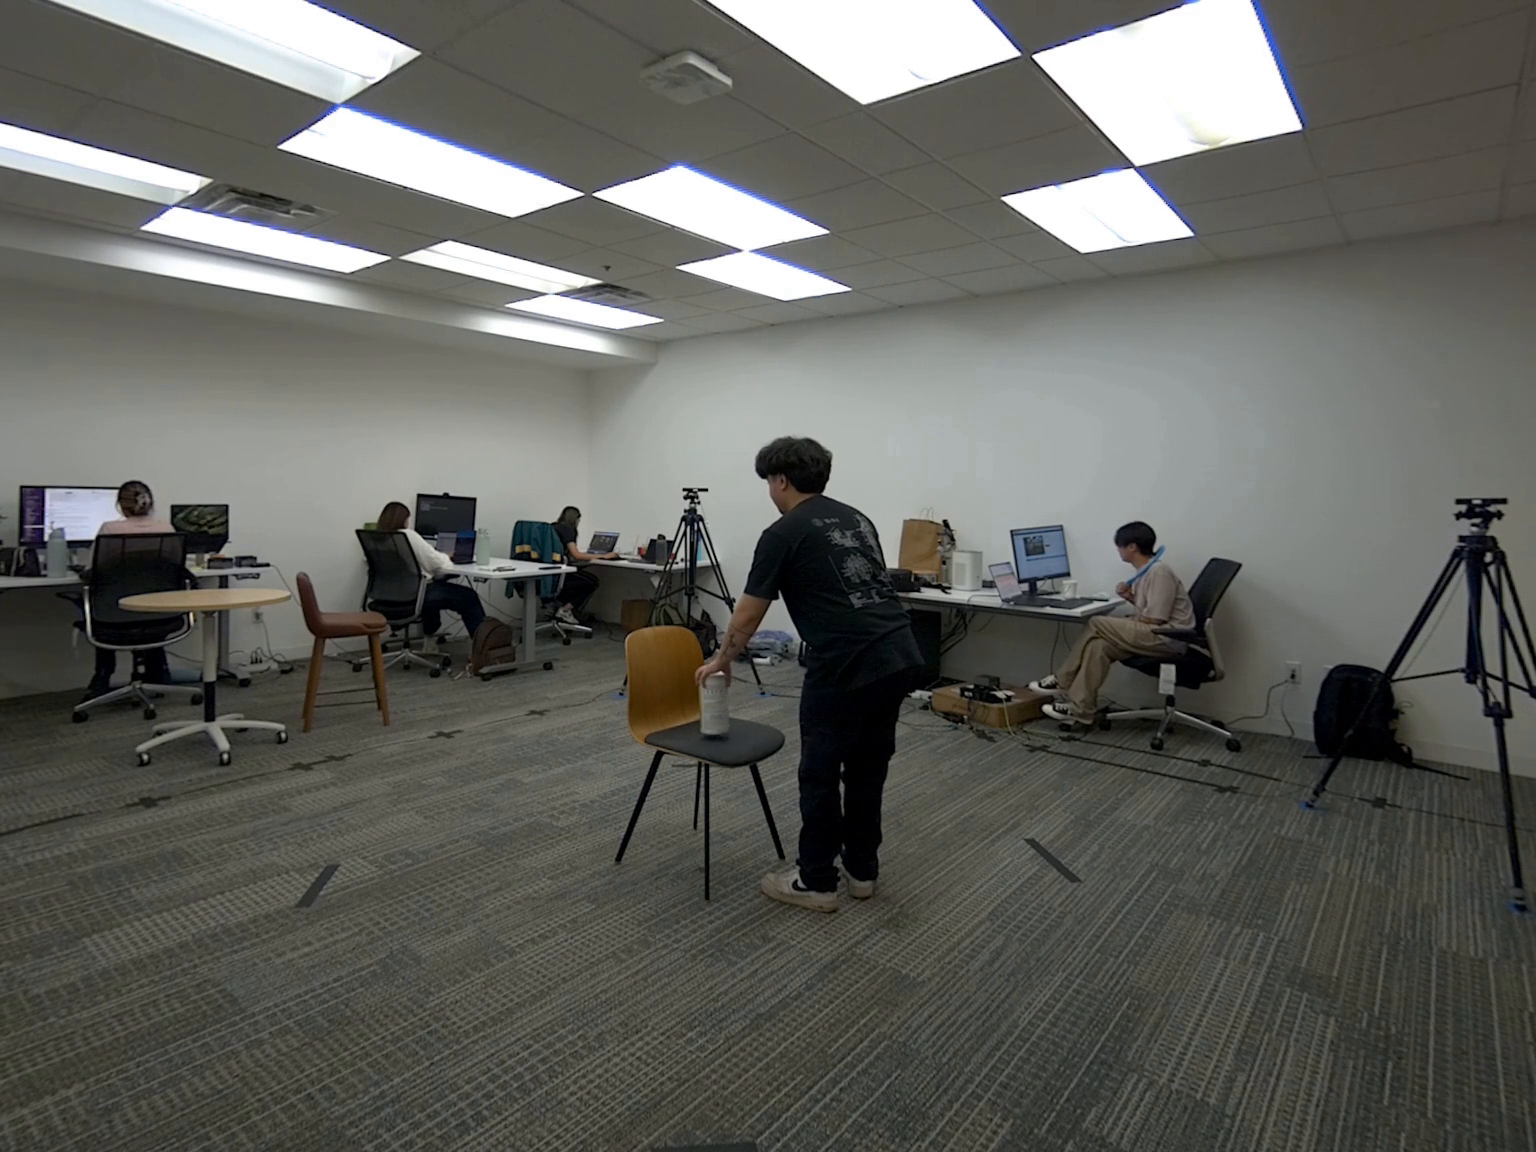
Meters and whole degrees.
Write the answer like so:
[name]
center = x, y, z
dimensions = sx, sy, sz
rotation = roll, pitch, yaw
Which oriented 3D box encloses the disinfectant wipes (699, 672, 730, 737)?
[disinfectant wipes]
center = -0.210, 0.463, 3.128
dimensions = 0.118, 0.217, 0.118
rotation = 0, 2, -2
